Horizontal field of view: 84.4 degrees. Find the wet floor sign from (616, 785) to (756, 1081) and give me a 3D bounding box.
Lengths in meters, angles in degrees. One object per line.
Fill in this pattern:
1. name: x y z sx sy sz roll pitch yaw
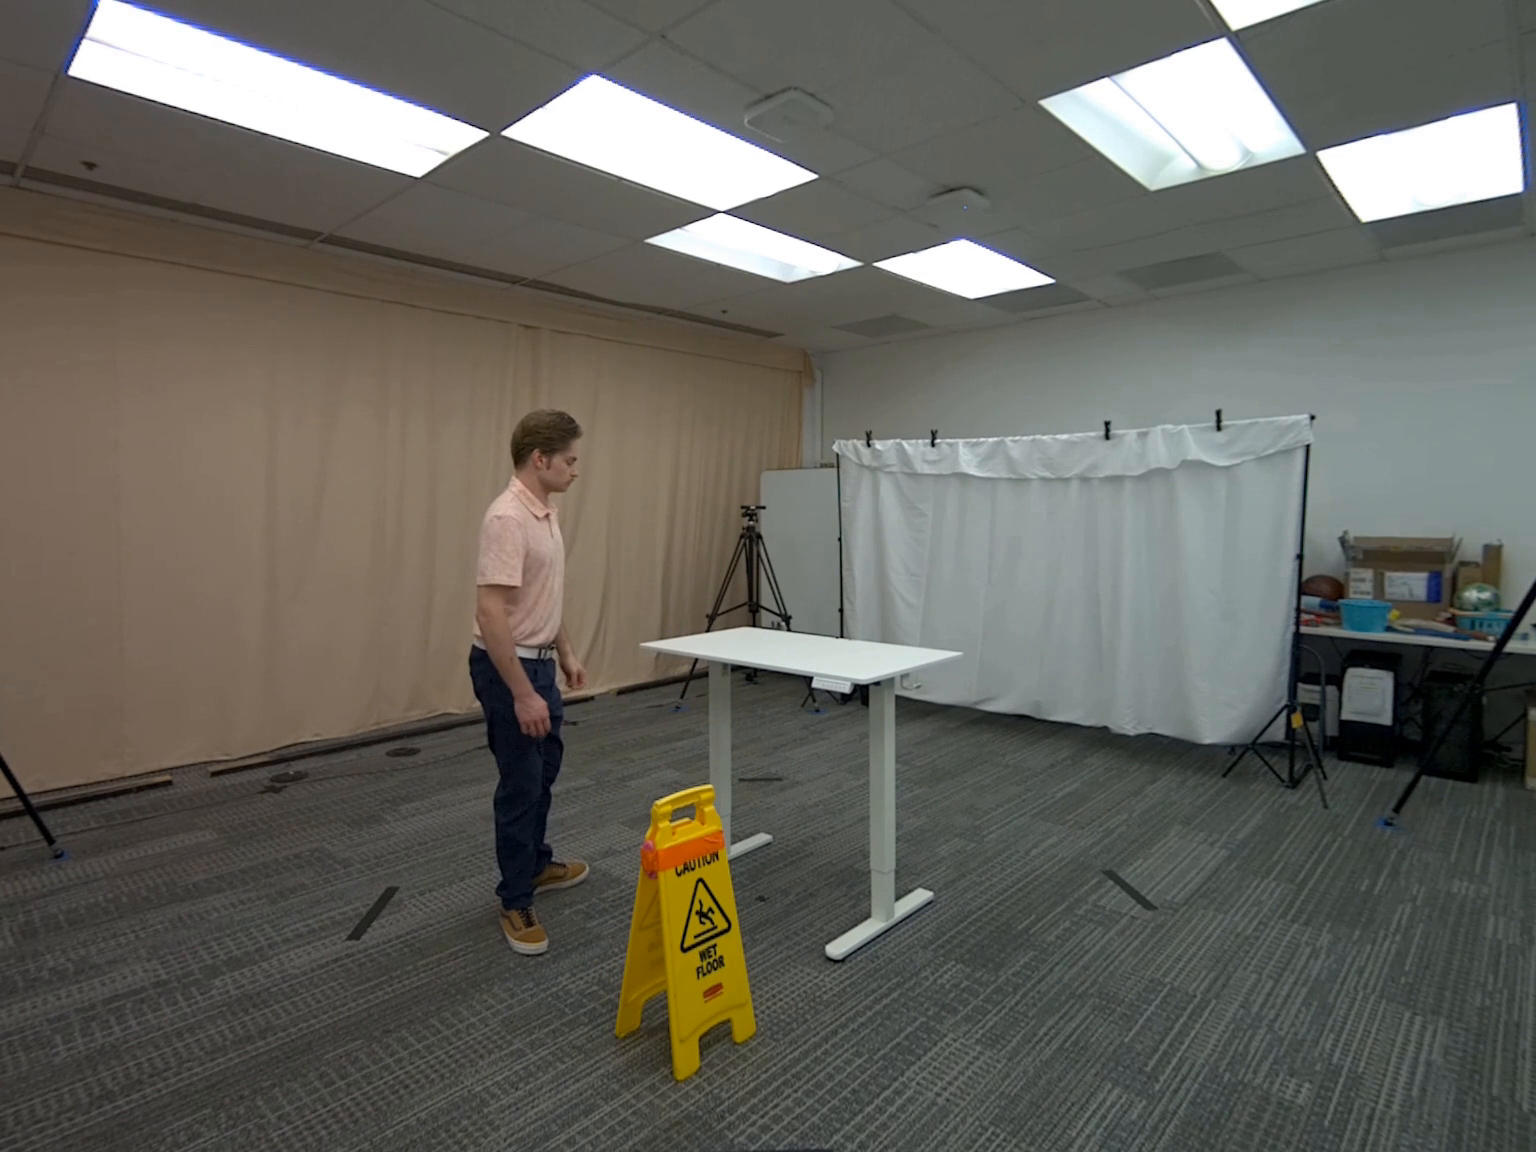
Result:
1. wet floor sign: -0.222 0.890 2.199 0.299 0.645 0.273 1 2 43
